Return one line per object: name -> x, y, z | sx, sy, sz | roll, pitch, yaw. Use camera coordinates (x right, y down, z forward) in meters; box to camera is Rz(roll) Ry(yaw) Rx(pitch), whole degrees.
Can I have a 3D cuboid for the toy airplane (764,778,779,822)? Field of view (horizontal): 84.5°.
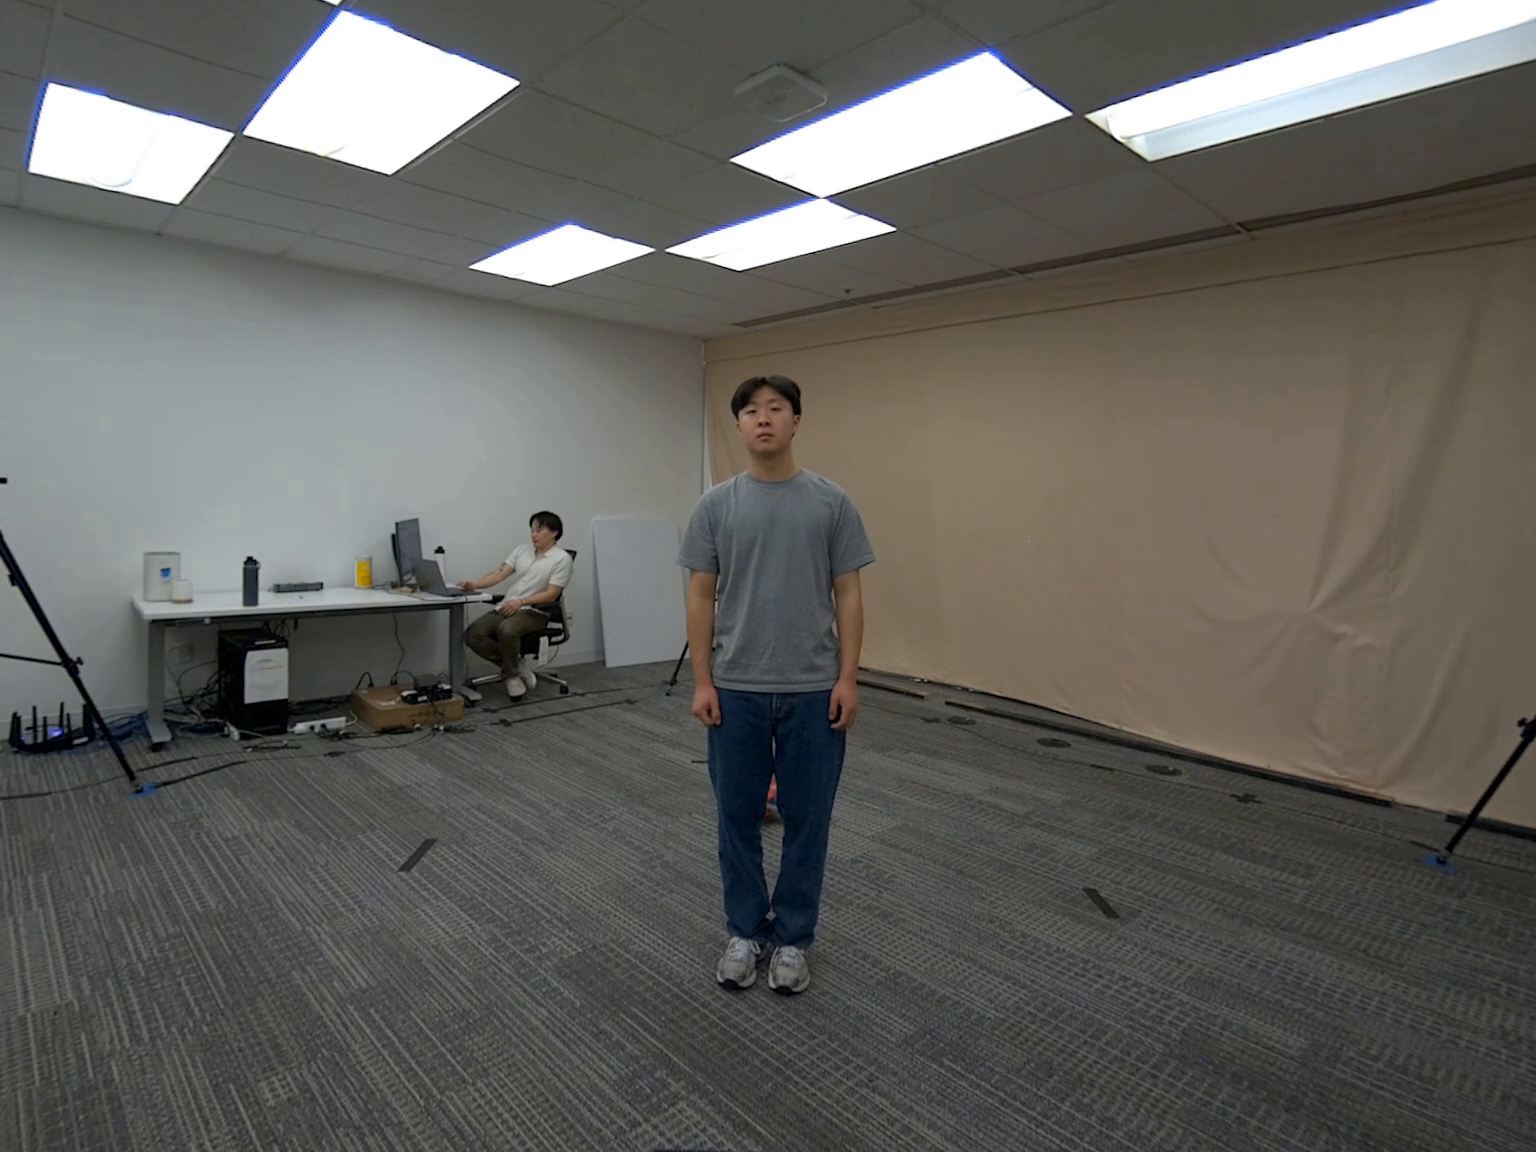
toy airplane -> 0.017, 0.993, 3.669 | 0.256, 0.156, 0.255 | 0, 5, -14
